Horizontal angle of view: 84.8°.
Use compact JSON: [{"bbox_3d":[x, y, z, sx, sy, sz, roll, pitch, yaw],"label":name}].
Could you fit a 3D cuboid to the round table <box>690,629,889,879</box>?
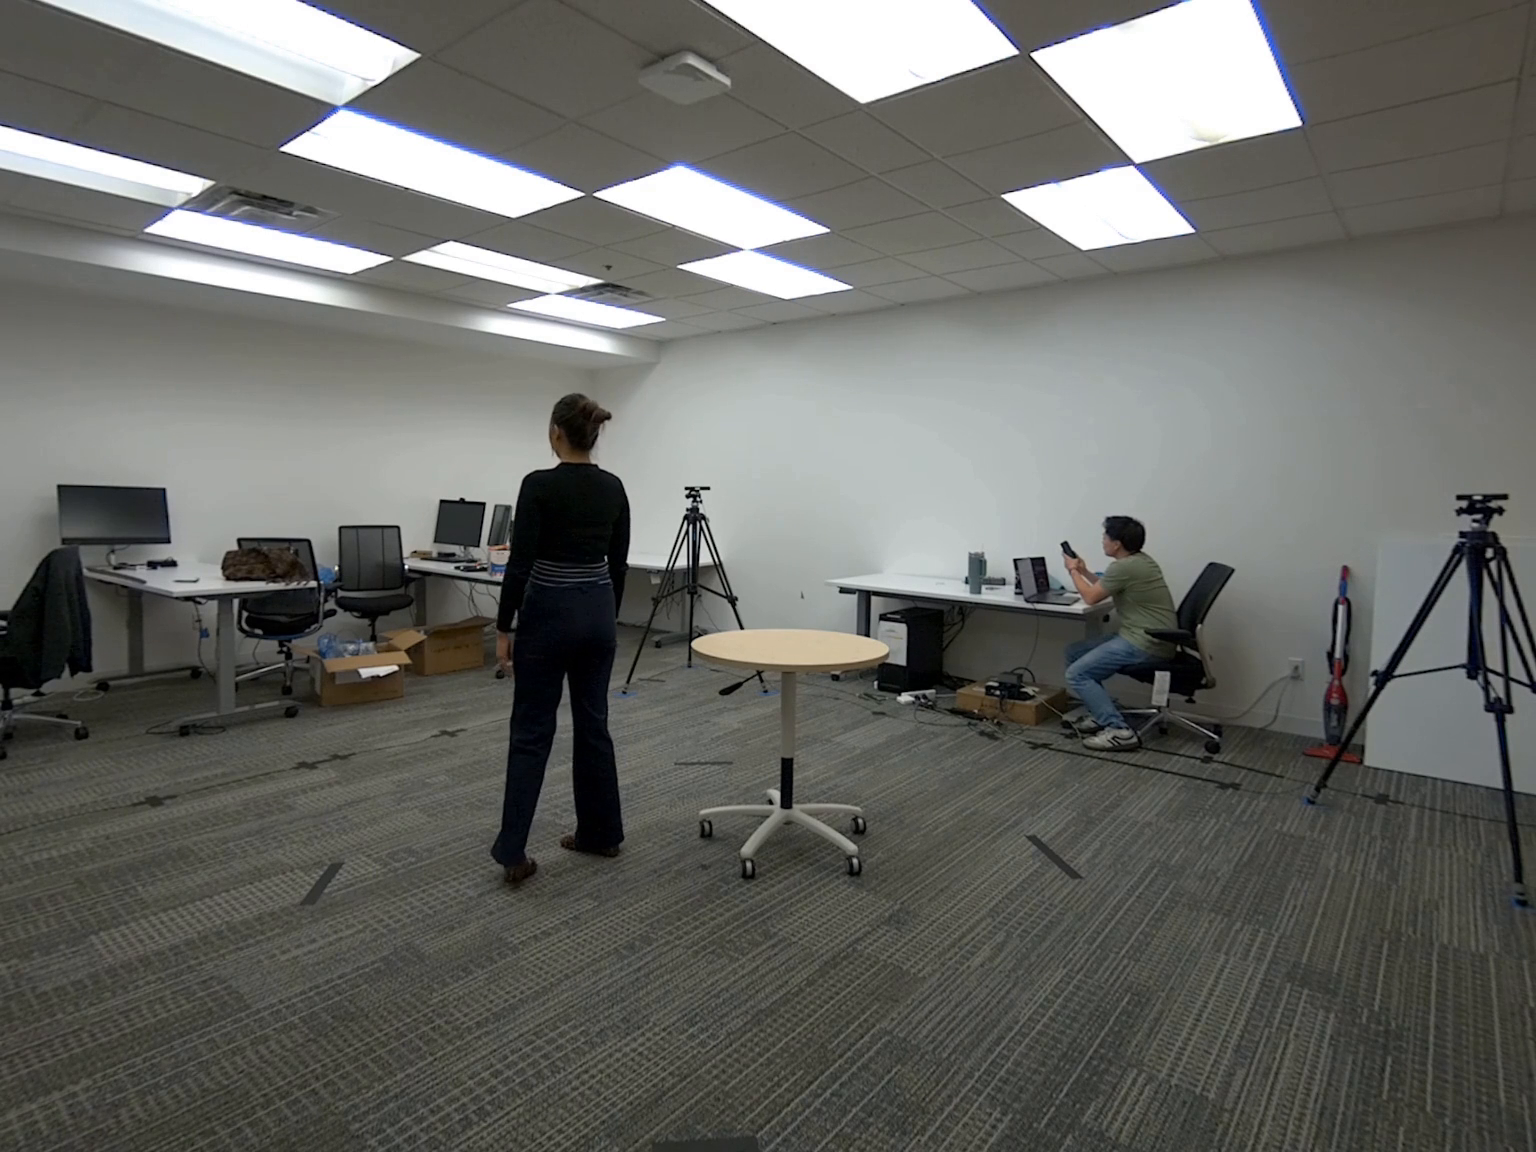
[{"bbox_3d":[0.066,0.661,3.329,0.763,0.791,0.768,0,4,-2],"label":"round table"}]
